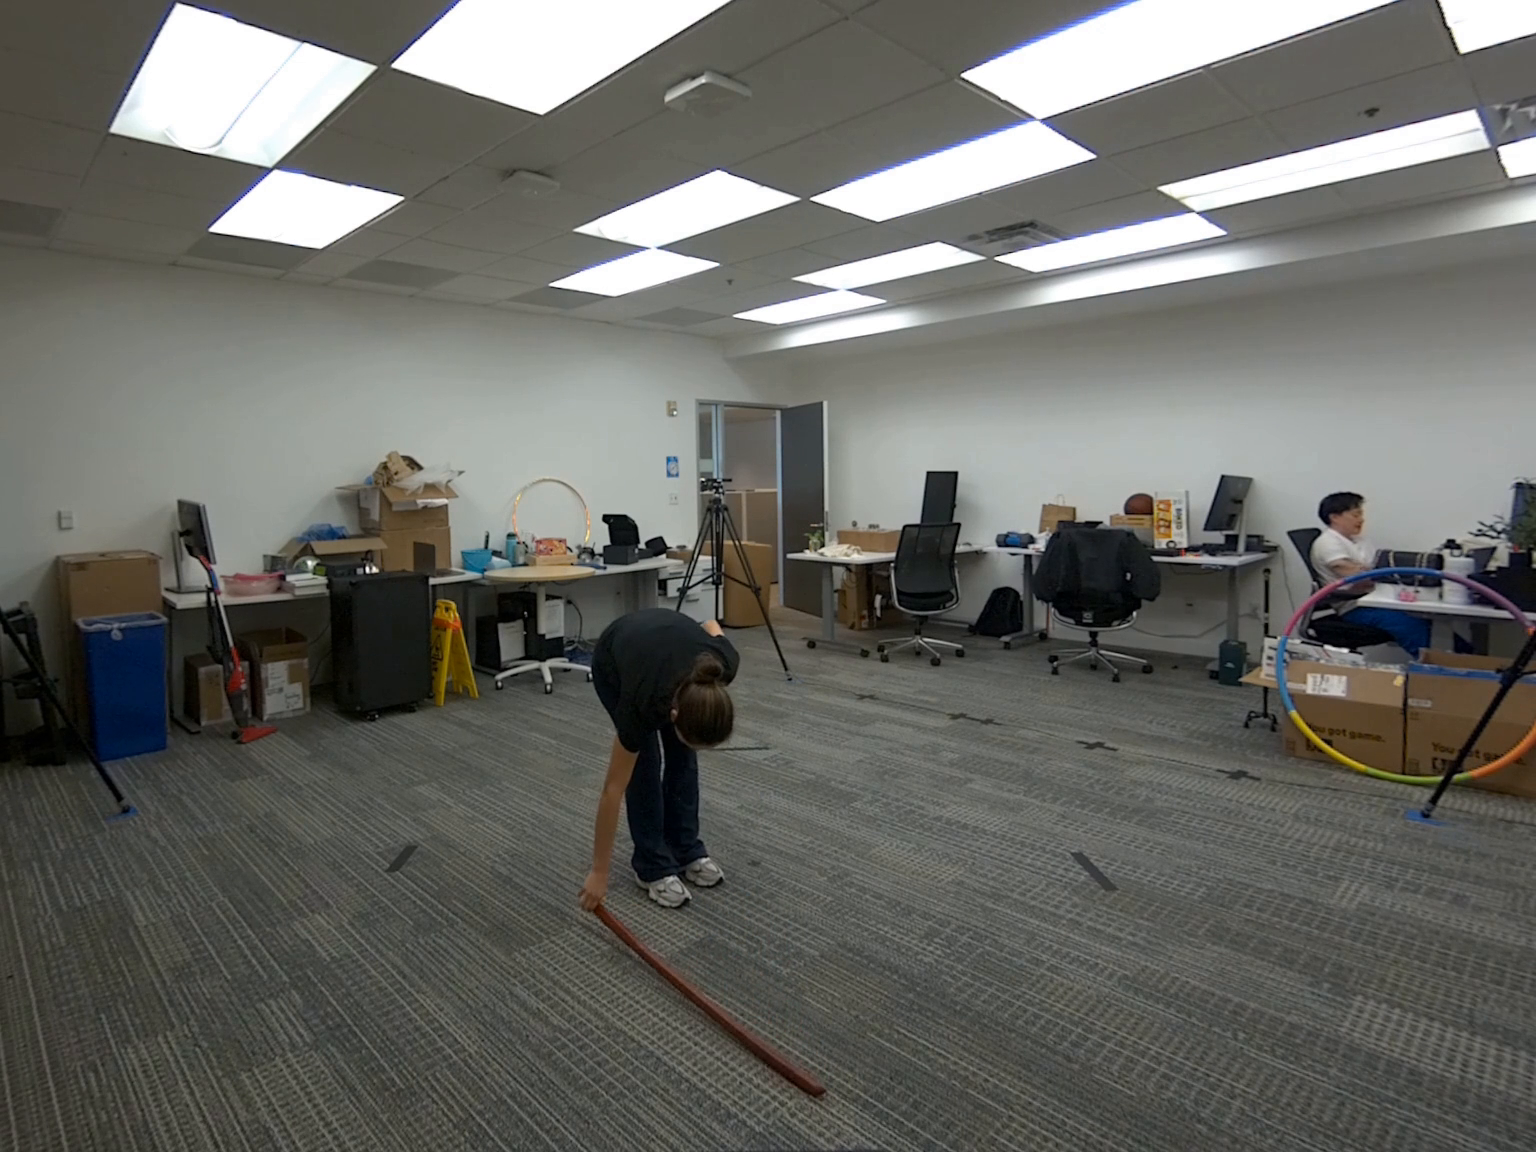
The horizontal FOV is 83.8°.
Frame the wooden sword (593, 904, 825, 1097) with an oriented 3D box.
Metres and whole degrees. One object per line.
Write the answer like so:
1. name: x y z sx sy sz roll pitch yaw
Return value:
1. wooden sword: -0.224 1.093 2.307 0.050 0.024 1.059 -7 12 -42
